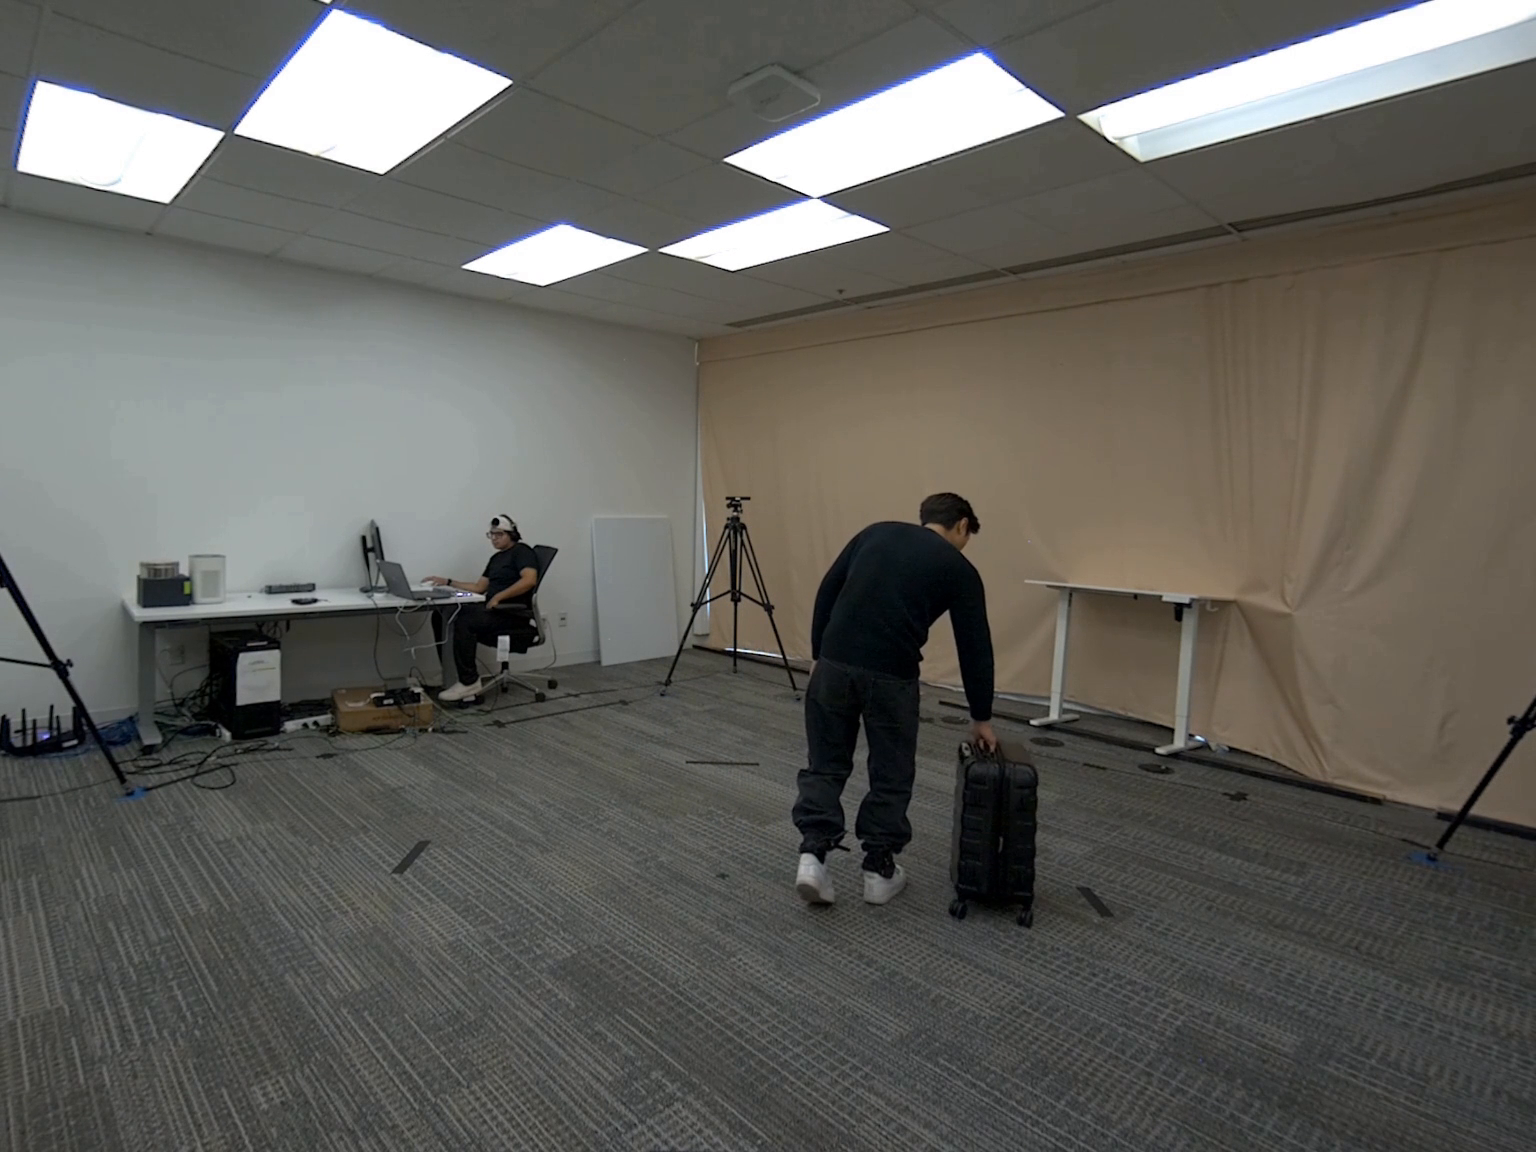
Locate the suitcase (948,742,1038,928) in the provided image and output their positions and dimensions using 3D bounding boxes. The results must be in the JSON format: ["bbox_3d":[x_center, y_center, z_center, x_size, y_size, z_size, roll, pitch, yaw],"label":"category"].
[{"bbox_3d":[0.786,0.867,2.962,0.250,0.548,0.373,3,3,9],"label":"suitcase"}]
